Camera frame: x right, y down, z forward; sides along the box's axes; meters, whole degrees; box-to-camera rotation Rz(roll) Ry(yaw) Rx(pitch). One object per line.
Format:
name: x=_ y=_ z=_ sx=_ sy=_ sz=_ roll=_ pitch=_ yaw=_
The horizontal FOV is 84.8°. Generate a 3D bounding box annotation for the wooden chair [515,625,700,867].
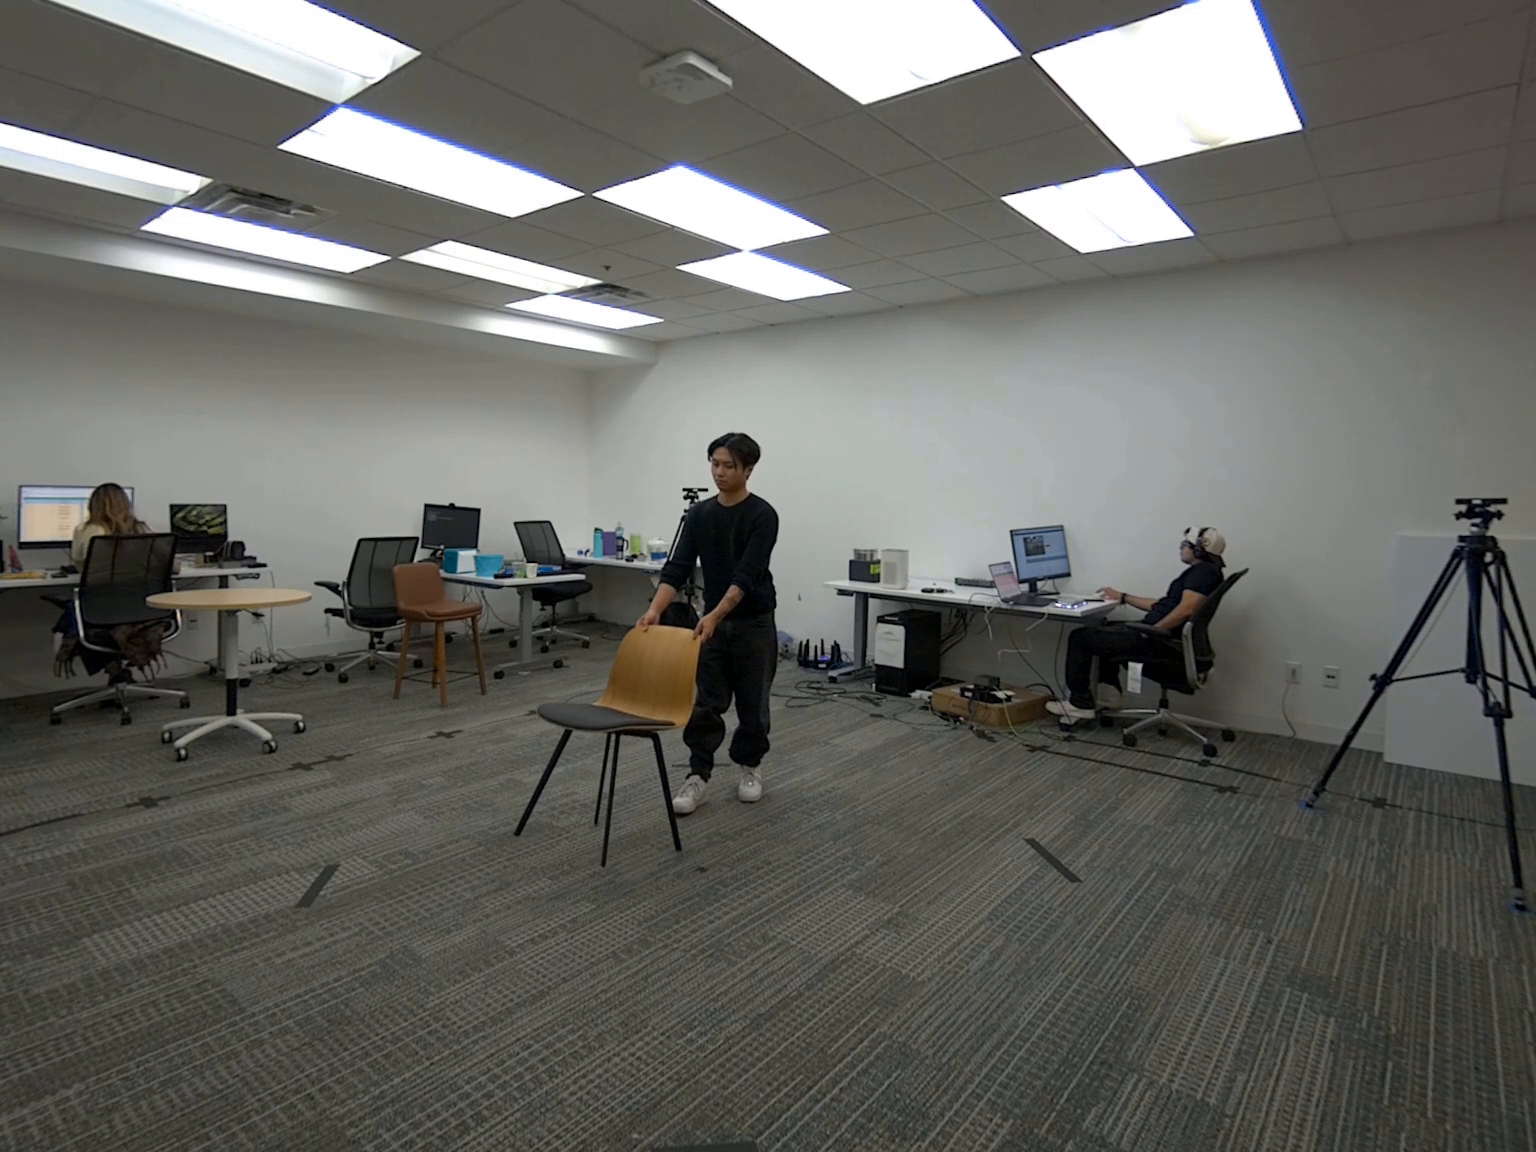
wooden chair: x=-0.599 y=0.587 z=3.249 sx=0.493 sy=0.884 sz=0.503 roll=3 pitch=-12 yaw=34
